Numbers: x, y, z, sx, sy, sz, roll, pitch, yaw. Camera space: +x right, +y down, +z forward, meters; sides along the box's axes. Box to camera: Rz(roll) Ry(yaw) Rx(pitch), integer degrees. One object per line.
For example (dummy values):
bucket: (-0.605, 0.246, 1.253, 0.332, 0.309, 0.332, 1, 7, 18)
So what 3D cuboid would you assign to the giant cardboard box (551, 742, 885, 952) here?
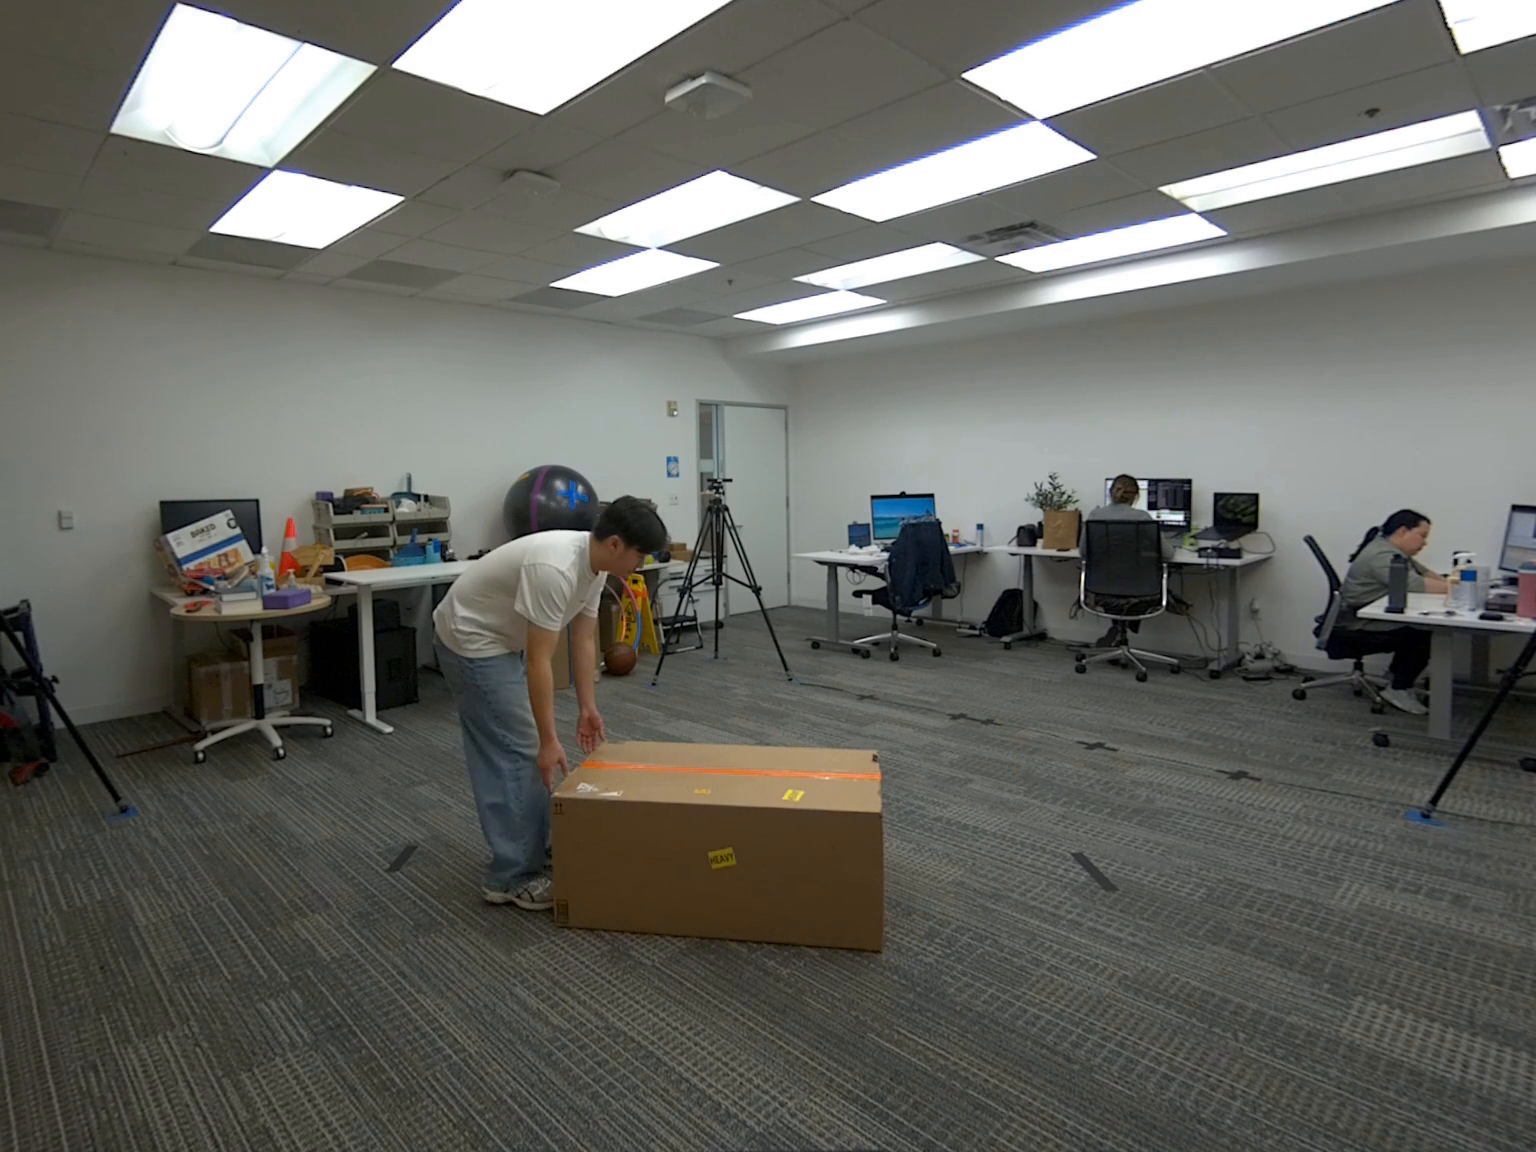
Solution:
giant cardboard box: (-0.133, 0.854, 2.858, 1.036, 0.424, 0.575, 0, 6, 9)
